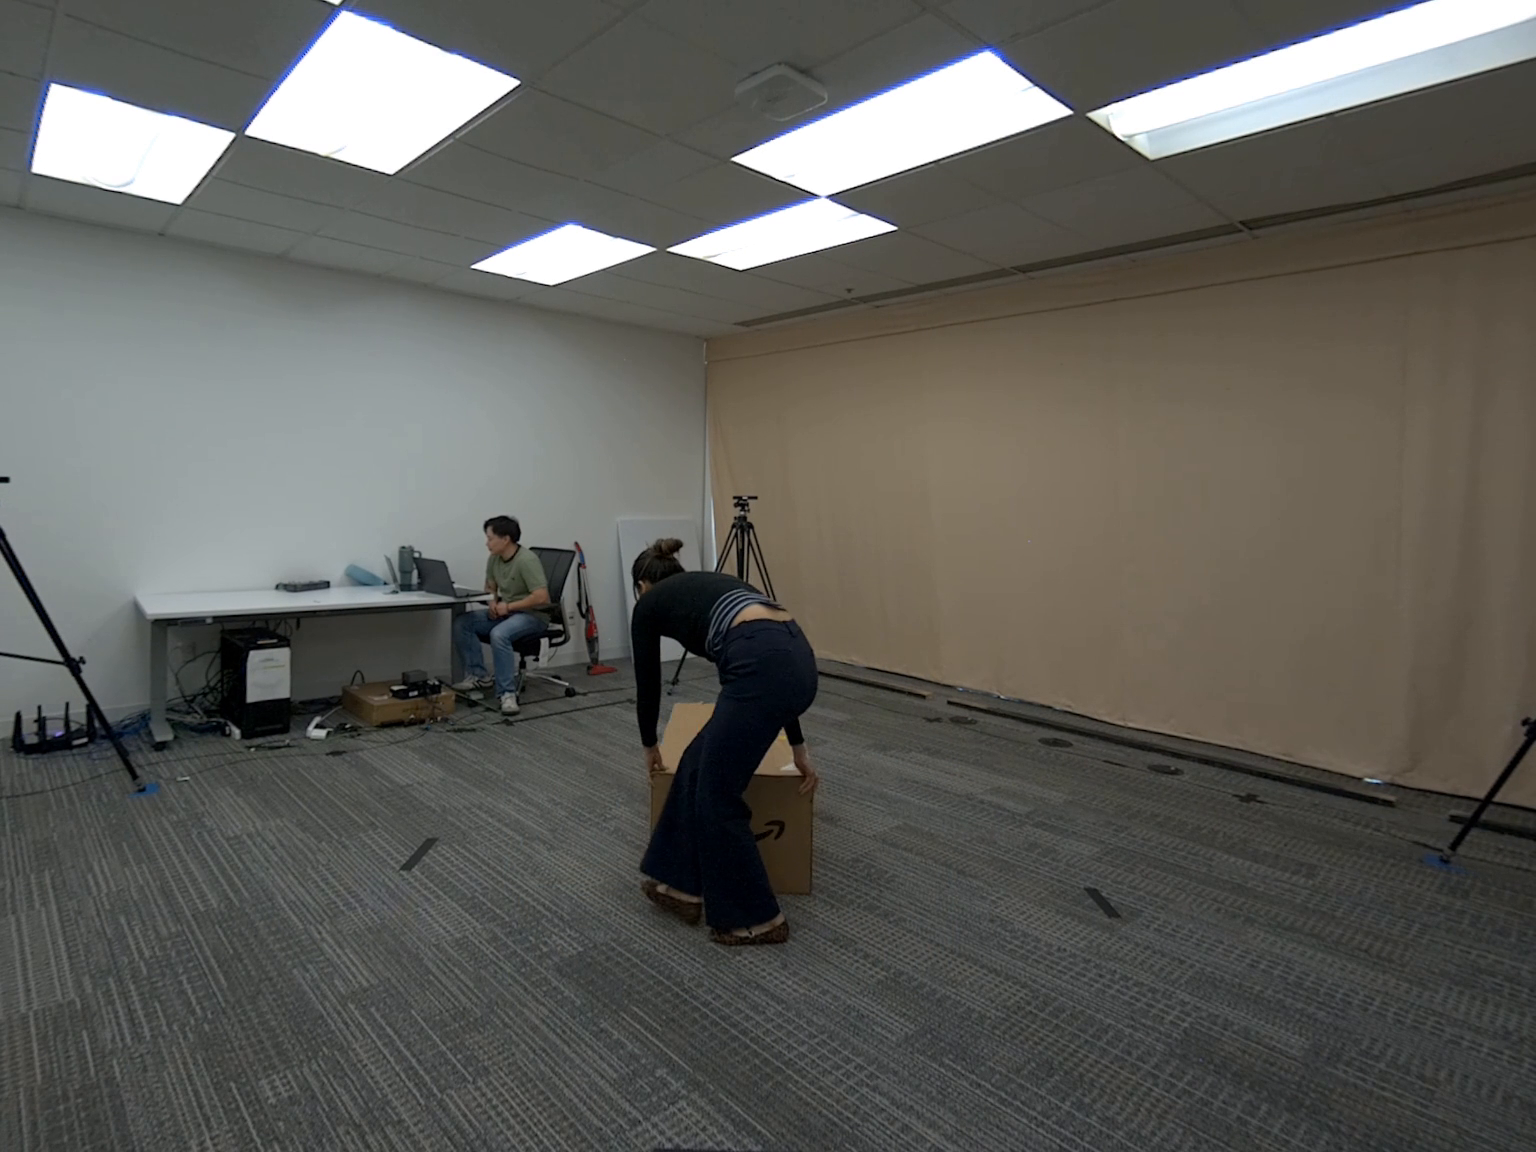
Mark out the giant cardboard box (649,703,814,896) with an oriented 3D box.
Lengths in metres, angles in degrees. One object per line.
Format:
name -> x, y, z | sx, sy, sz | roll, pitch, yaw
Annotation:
giant cardboard box -> -0.155, 0.855, 3.453 | 0.577, 0.425, 1.029 | 1, 5, -2
